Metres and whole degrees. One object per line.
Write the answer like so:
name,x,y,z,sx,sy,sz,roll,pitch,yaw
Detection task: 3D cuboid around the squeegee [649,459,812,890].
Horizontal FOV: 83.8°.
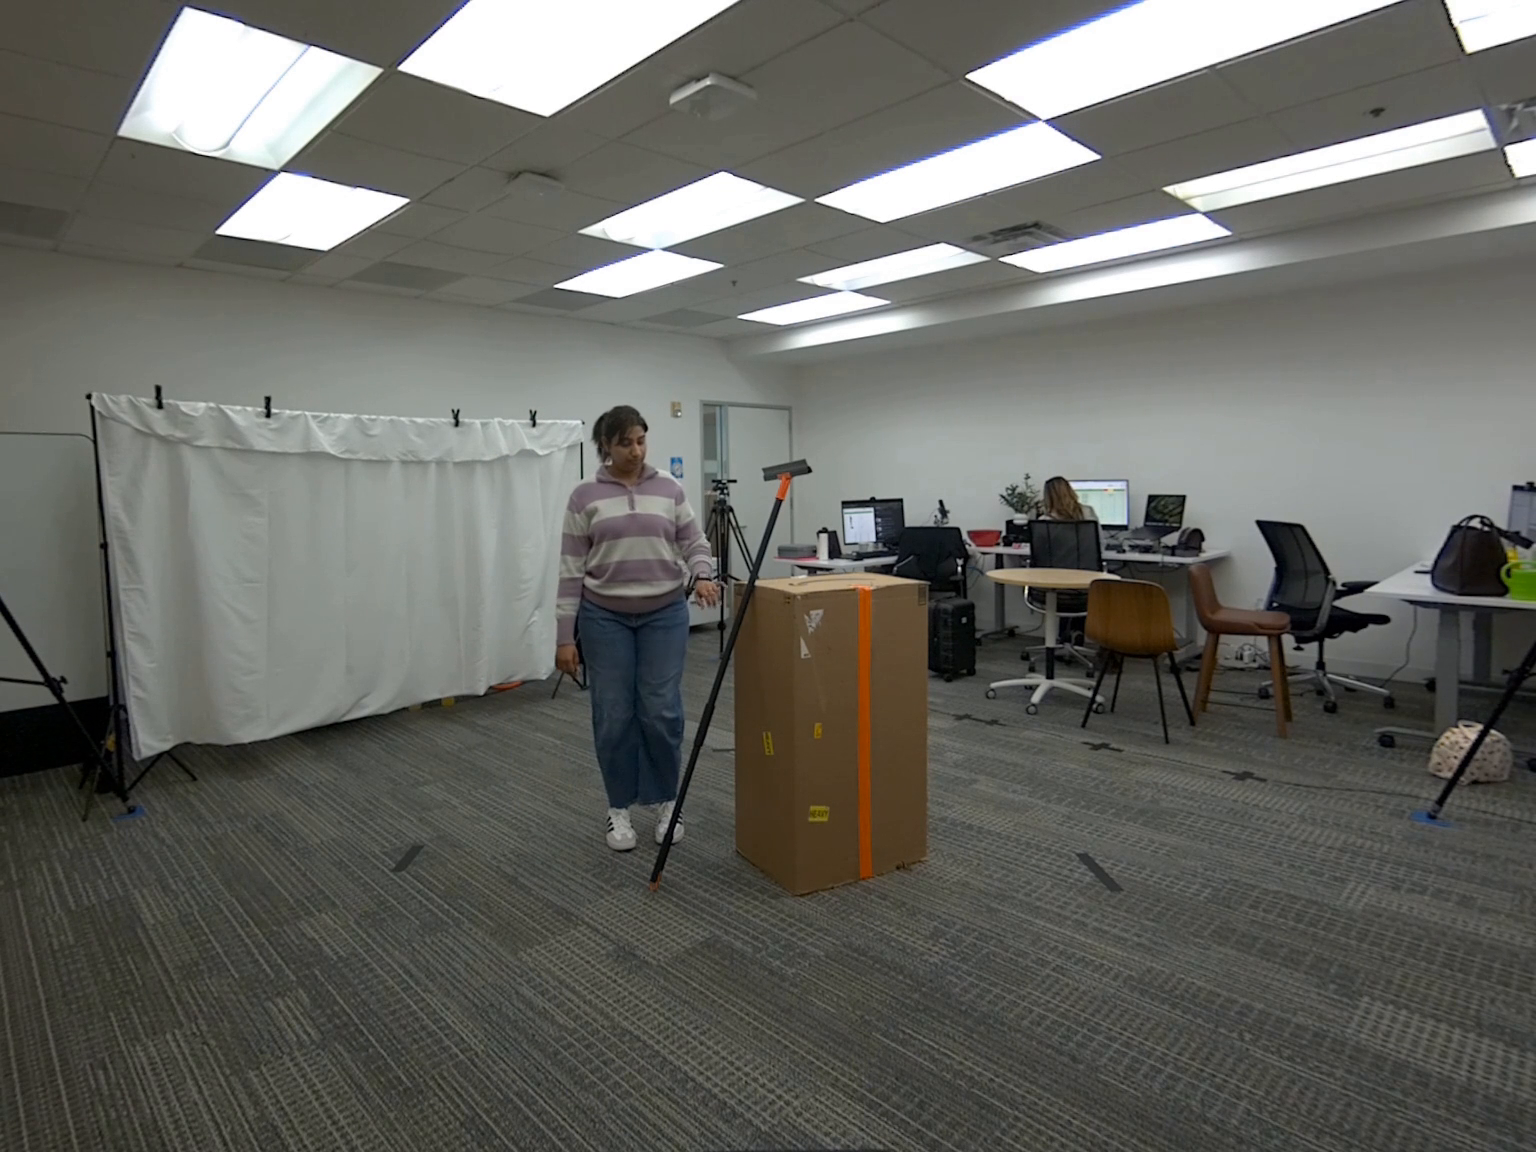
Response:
squeegee,-0.169,0.337,2.991,0.052,1.544,0.446,20,-8,-21
